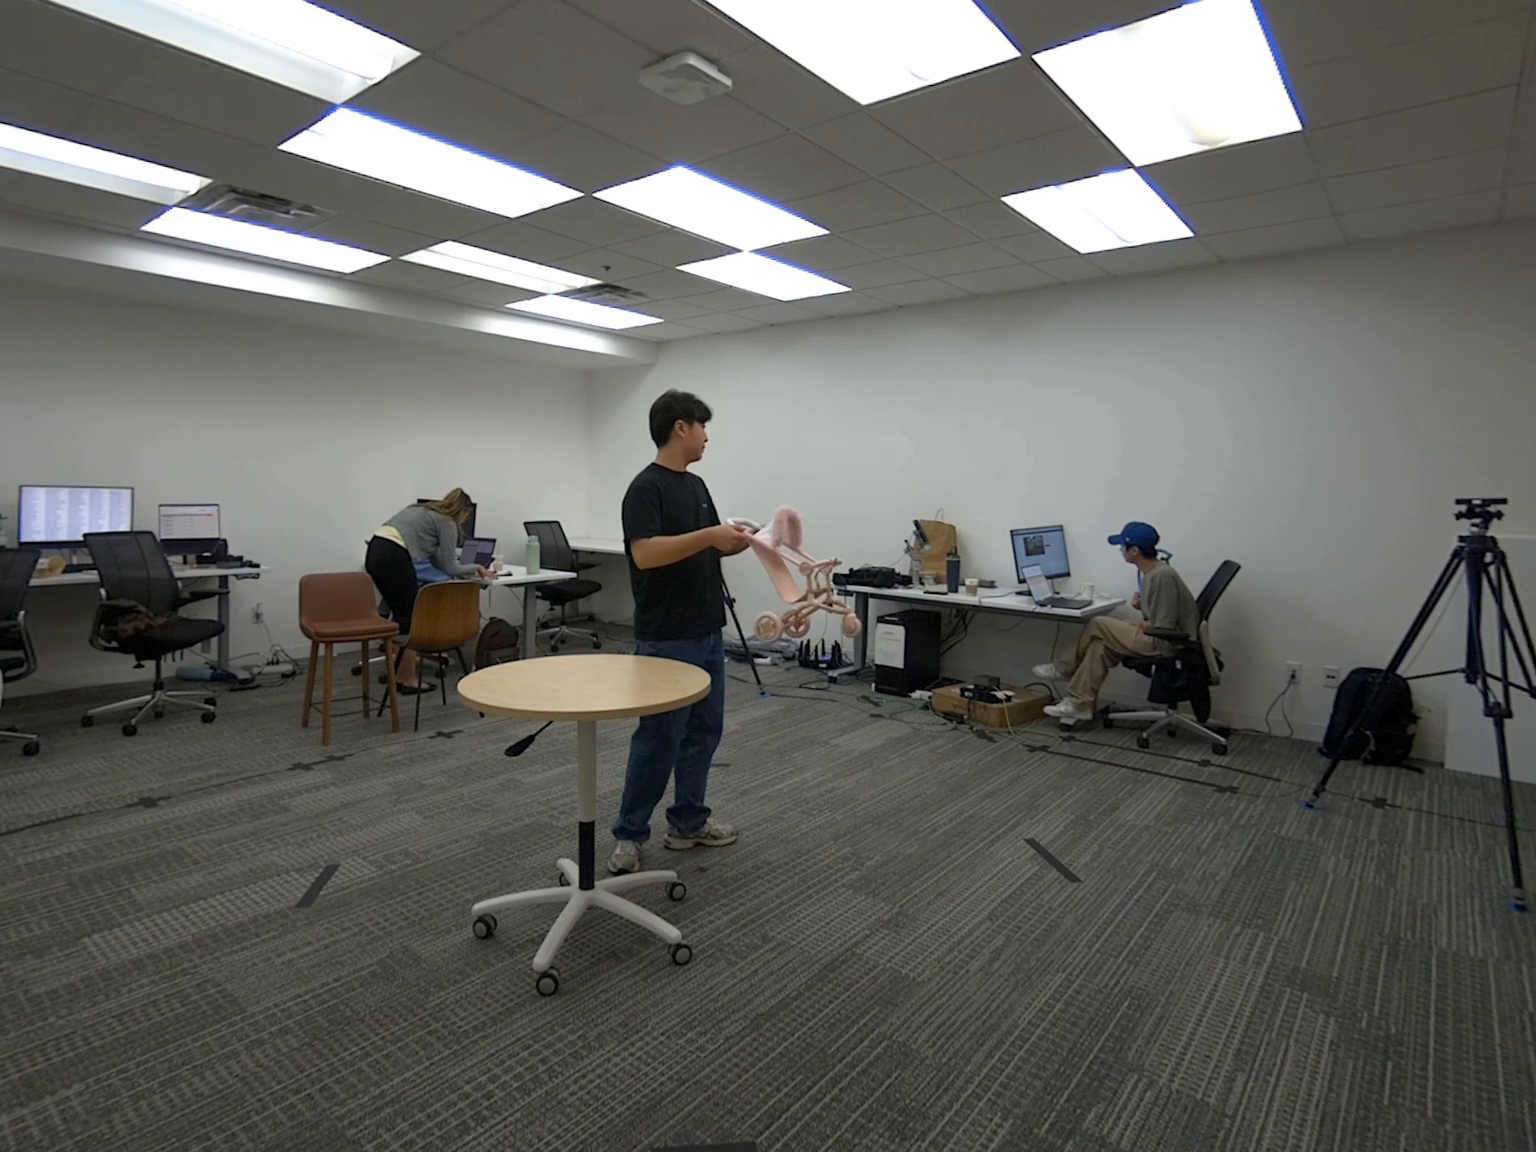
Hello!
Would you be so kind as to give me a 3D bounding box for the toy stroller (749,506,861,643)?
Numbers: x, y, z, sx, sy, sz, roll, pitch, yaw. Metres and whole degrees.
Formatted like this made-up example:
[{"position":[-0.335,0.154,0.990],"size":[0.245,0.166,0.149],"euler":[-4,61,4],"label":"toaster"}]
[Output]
[{"position":[0.085,-0.010,2.947],"size":[0.346,0.542,0.274],"euler":[-23,-11,28],"label":"toy stroller"}]
